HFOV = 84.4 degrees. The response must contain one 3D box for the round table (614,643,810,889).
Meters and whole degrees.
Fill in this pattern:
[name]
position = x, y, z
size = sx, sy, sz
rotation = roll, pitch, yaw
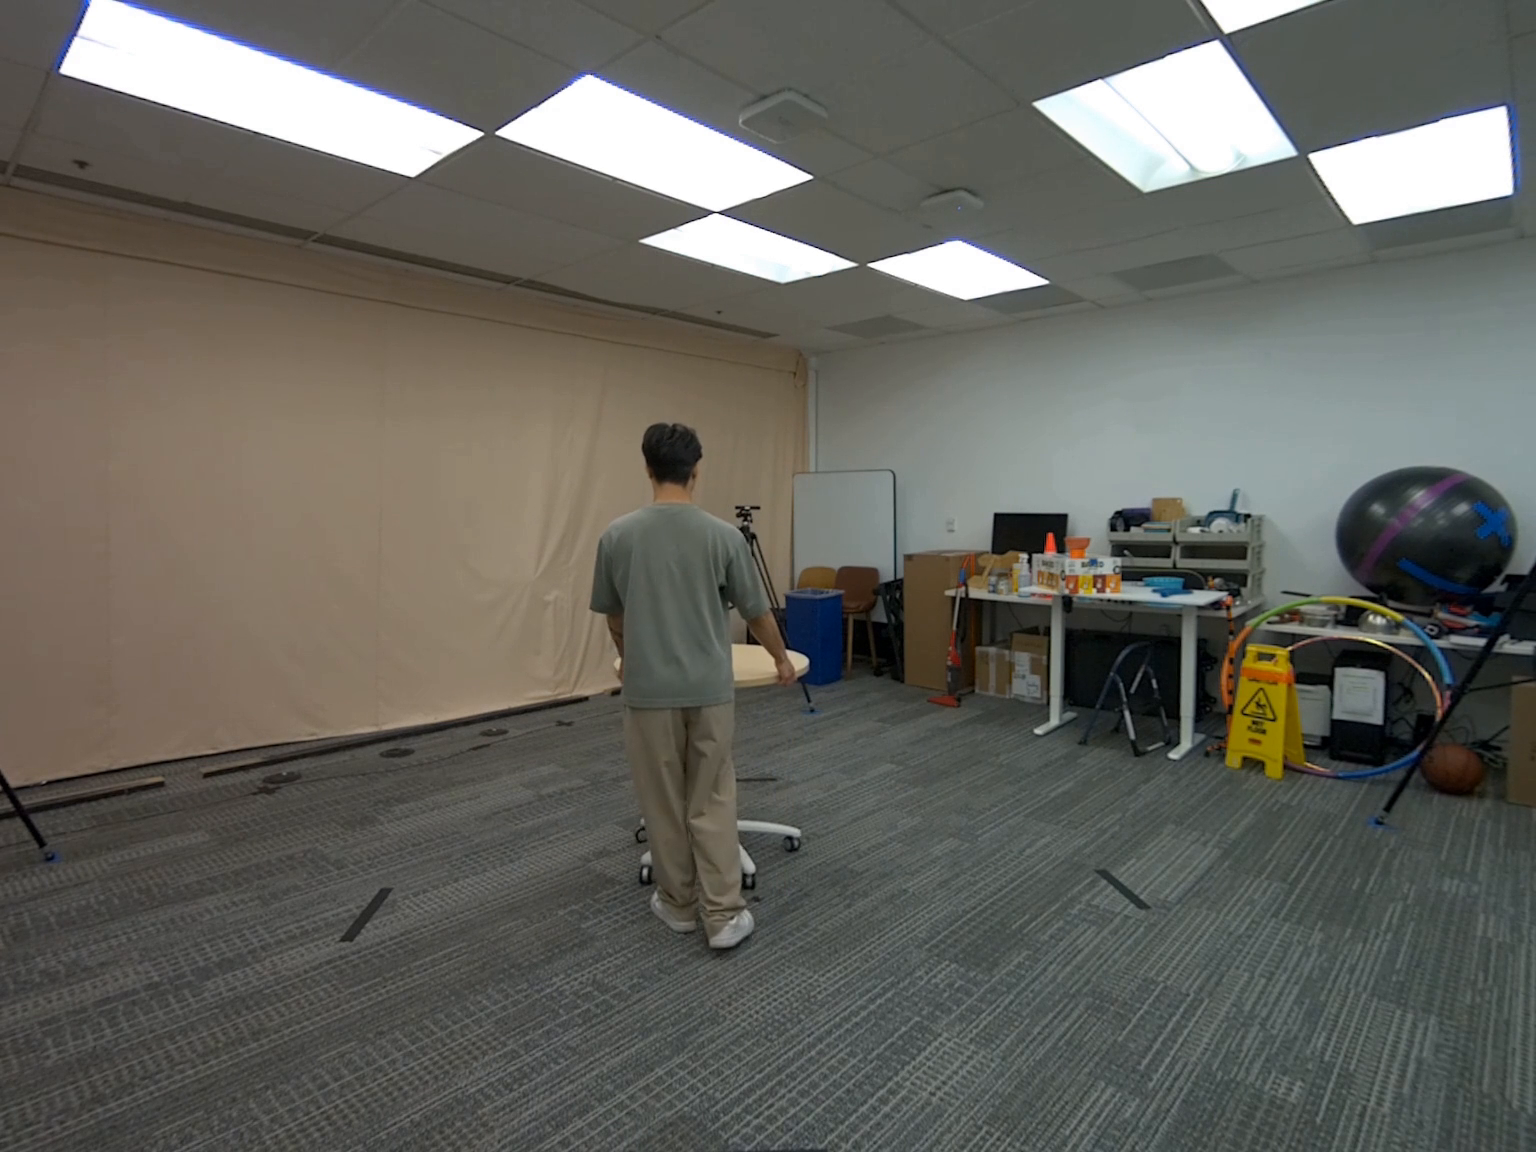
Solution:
[round table]
position = -0.214, 0.721, 3.346
size = 0.784, 0.784, 0.788
rotation = -1, 4, -2
